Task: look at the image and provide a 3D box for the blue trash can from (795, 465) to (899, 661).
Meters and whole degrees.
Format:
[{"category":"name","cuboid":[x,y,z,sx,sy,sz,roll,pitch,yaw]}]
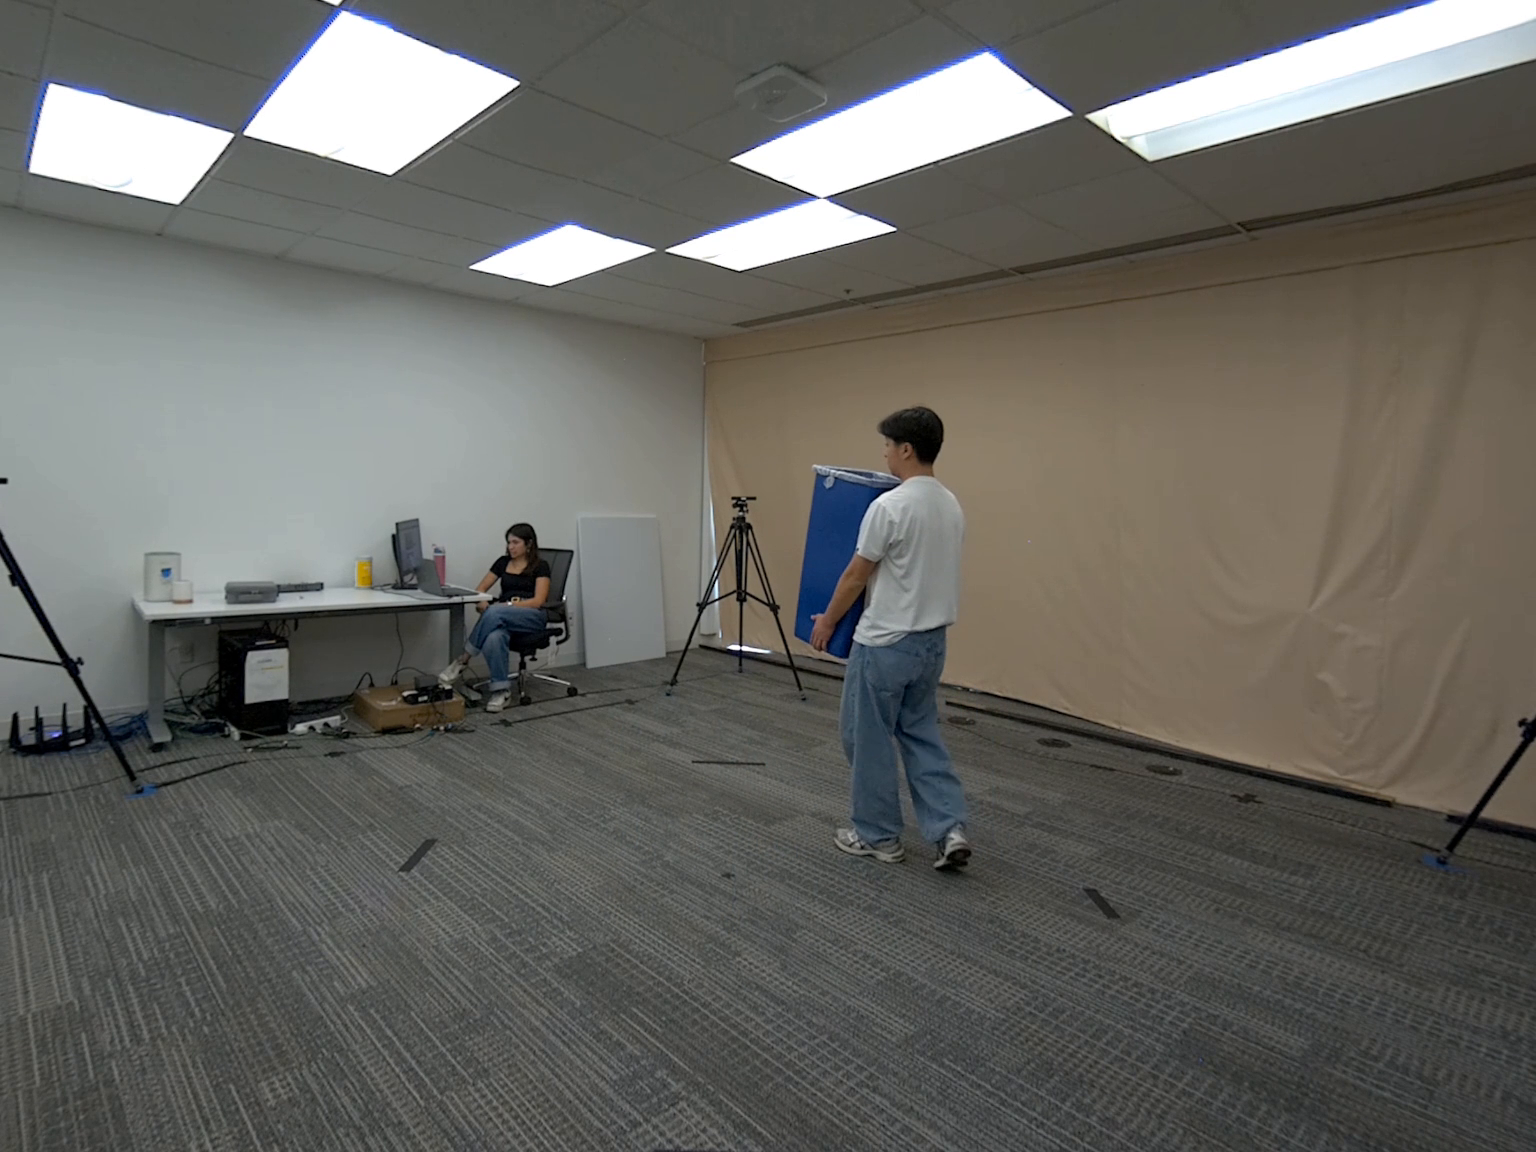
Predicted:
[{"category":"blue trash can","cuboid":[0.360,-0.062,3.437,0.365,0.709,0.389,1,14,-38]}]
